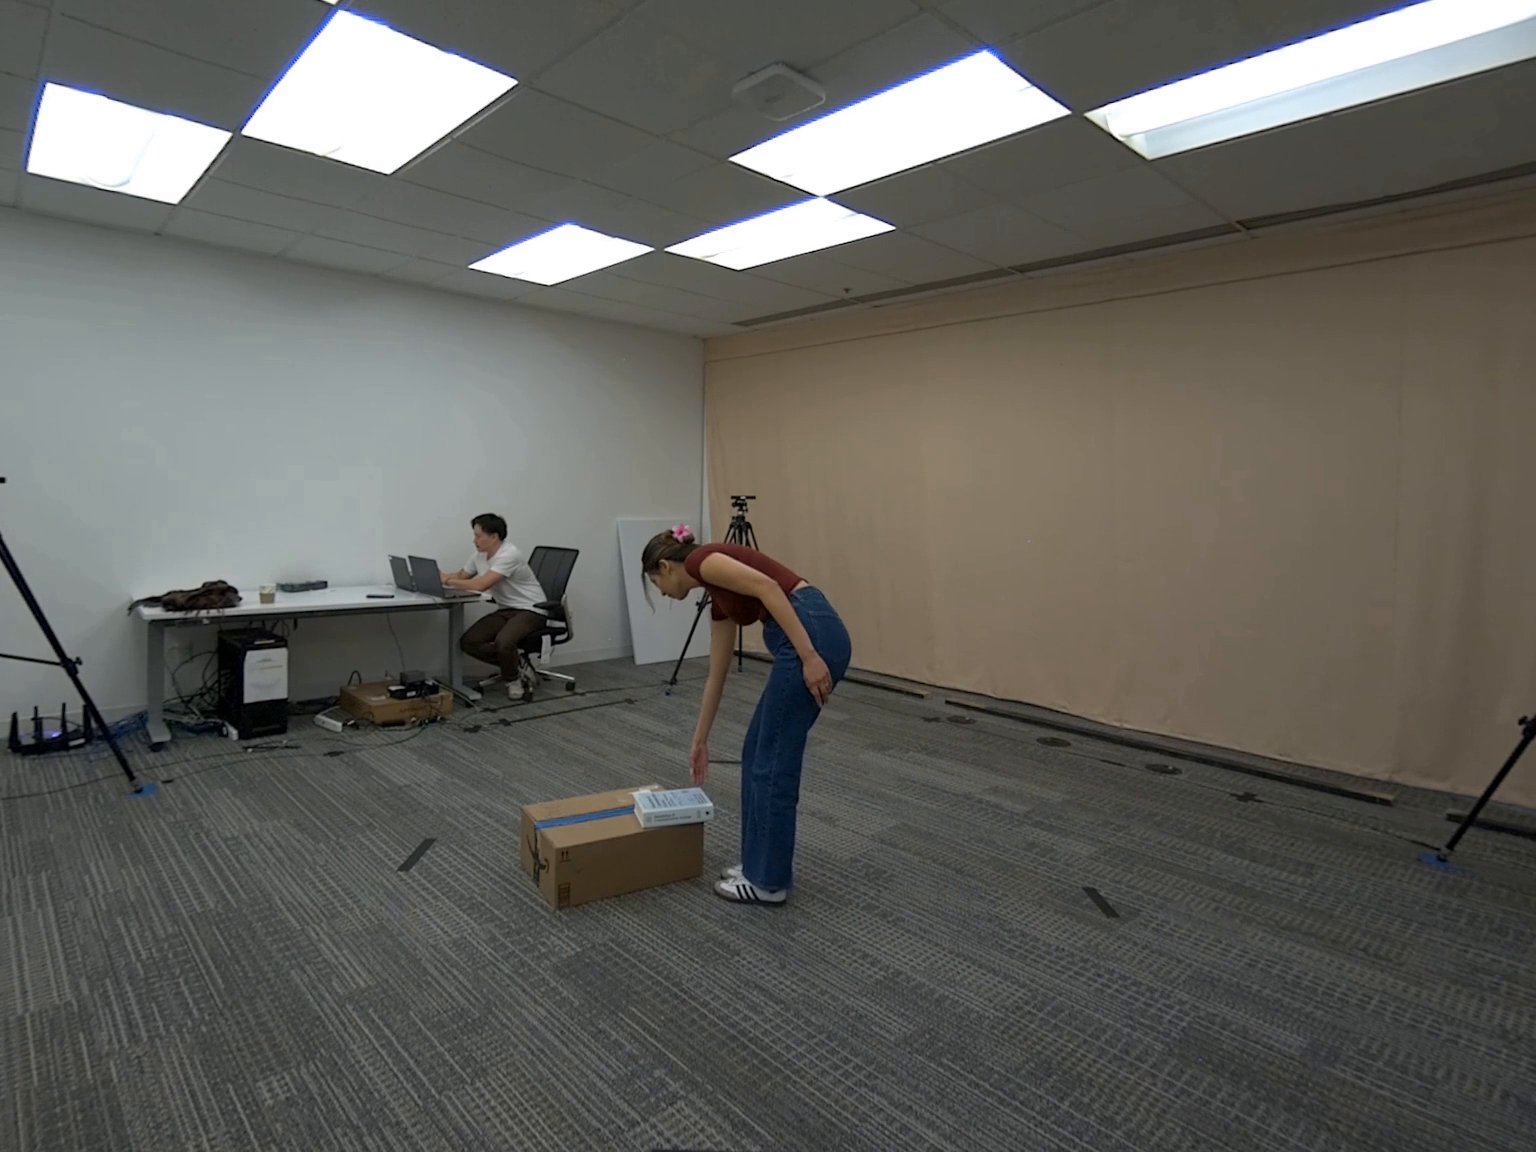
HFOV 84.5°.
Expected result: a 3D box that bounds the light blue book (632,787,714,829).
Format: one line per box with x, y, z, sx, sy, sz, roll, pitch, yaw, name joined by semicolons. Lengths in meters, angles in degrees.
-0.356;0.847;3.095;0.257;0.059;0.195;-1;6;-19;light blue book
